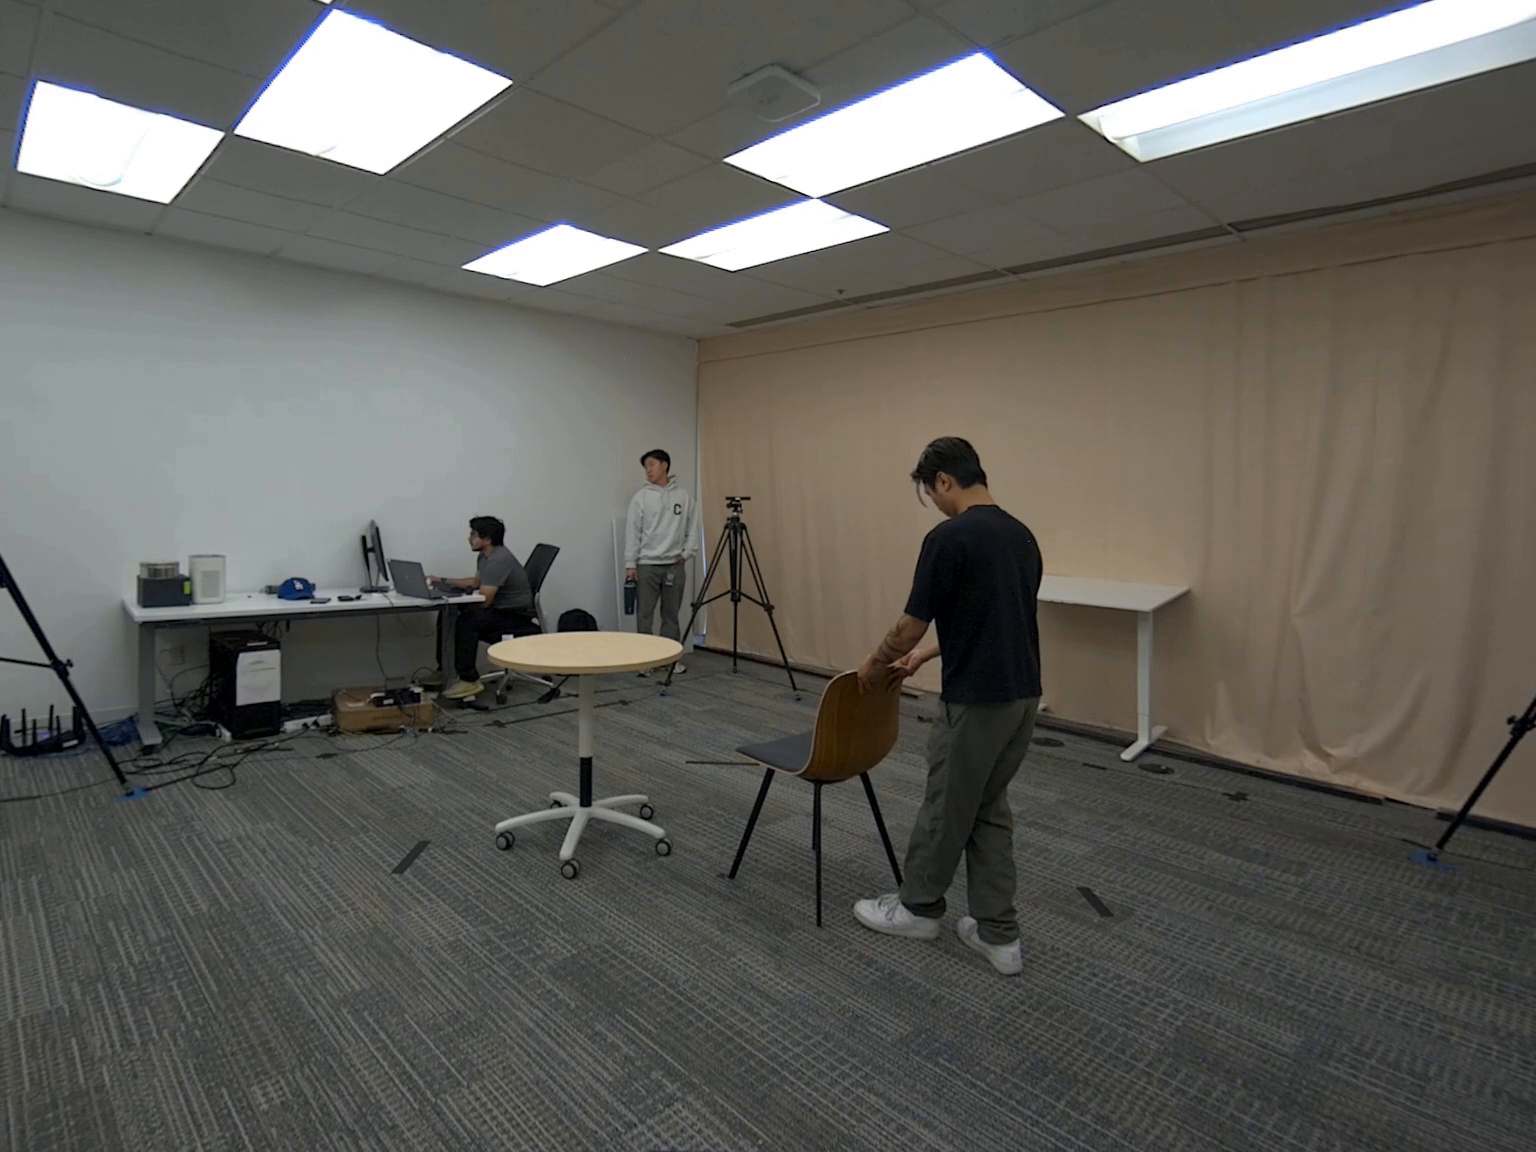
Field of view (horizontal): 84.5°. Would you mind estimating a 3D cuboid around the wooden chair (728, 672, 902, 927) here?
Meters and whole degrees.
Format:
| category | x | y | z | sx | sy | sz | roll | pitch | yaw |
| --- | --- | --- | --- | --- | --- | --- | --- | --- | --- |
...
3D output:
| category | x | y | z | sx | sy | sz | roll | pitch | yaw |
| --- | --- | --- | --- | --- | --- | --- | --- | --- | --- |
| wooden chair | 0.171 | 0.692 | 3.029 | 0.467 | 0.873 | 0.537 | -2 | 9 | -42 |
